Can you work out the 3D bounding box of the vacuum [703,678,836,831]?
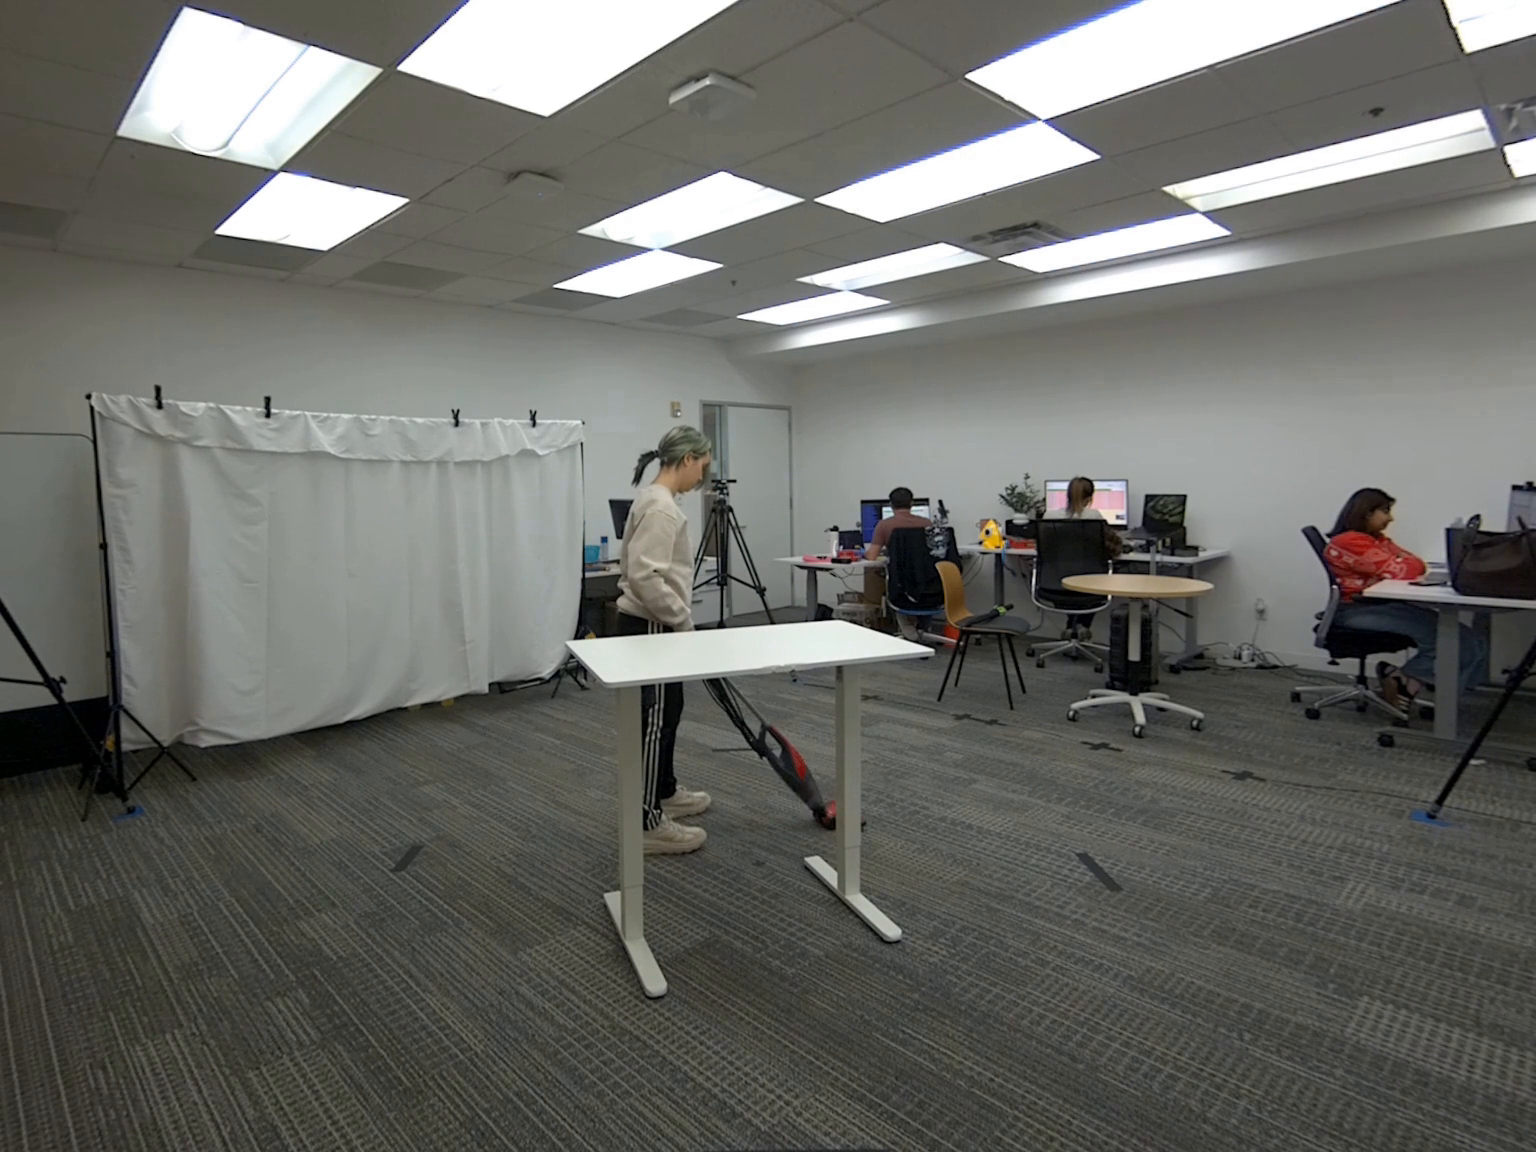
[{"bbox_3d":[-0.023,0.609,3.328,0.144,1.026,0.258,-45,18,-17],"label":"vacuum"}]
